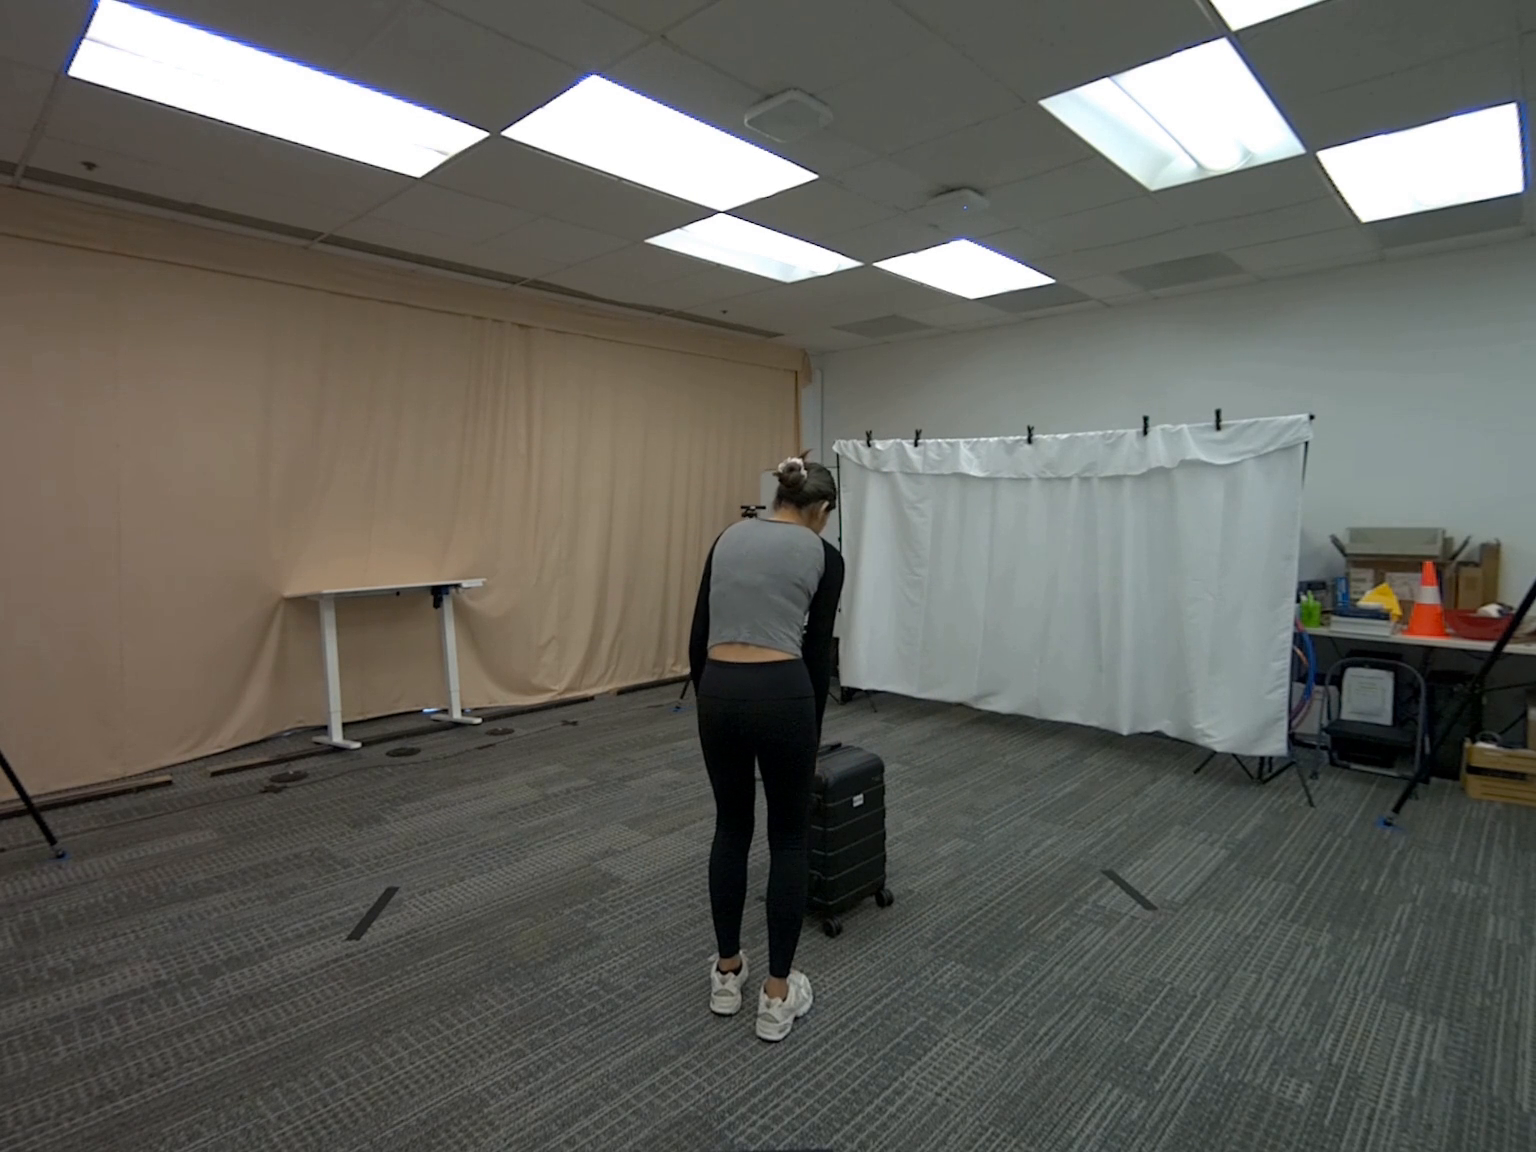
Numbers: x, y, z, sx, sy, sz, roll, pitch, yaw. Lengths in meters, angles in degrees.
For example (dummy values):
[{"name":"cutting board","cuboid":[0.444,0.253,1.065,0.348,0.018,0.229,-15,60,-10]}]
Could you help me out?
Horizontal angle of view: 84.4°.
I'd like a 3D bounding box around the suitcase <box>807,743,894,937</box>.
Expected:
[{"name":"suitcase","cuboid":[0.230,0.673,2.899,0.266,0.976,0.372,4,5,43]}]
